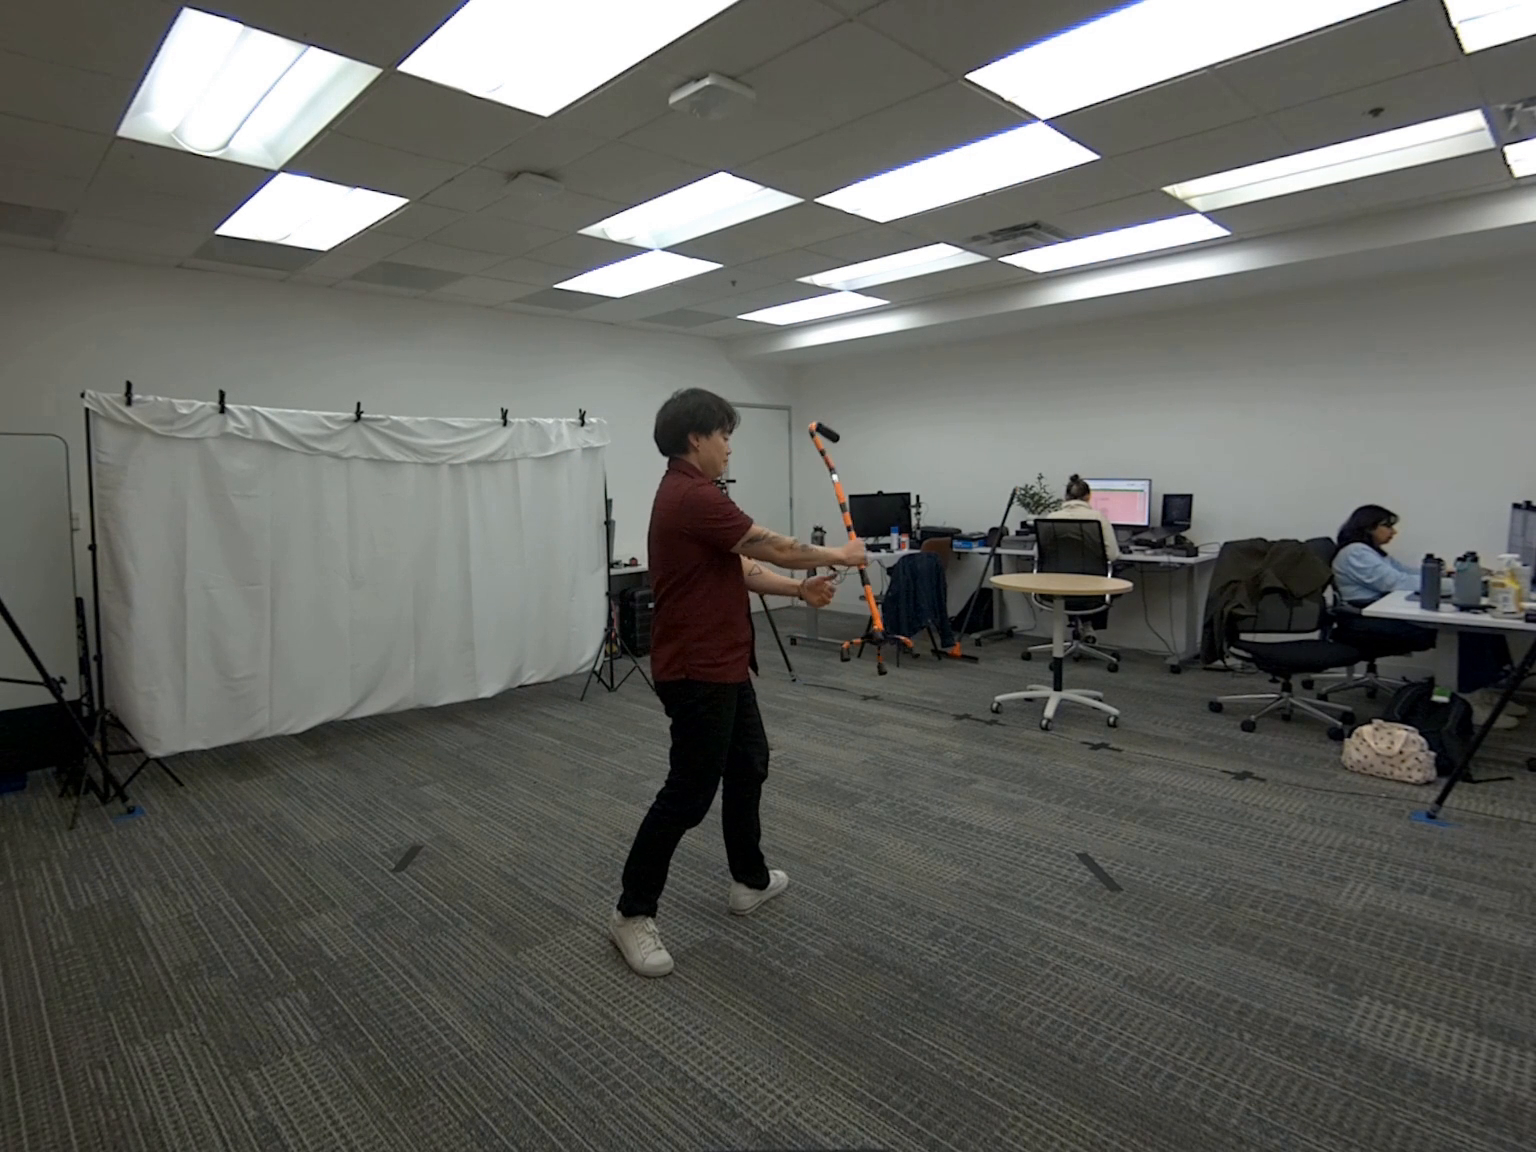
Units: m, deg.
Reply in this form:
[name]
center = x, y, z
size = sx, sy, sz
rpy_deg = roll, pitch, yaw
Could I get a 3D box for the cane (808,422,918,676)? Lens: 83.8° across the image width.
[cane]
center = 0.249, -0.142, 2.725
size = 0.199, 0.935, 0.153
rpy_deg = 24, -47, -40
